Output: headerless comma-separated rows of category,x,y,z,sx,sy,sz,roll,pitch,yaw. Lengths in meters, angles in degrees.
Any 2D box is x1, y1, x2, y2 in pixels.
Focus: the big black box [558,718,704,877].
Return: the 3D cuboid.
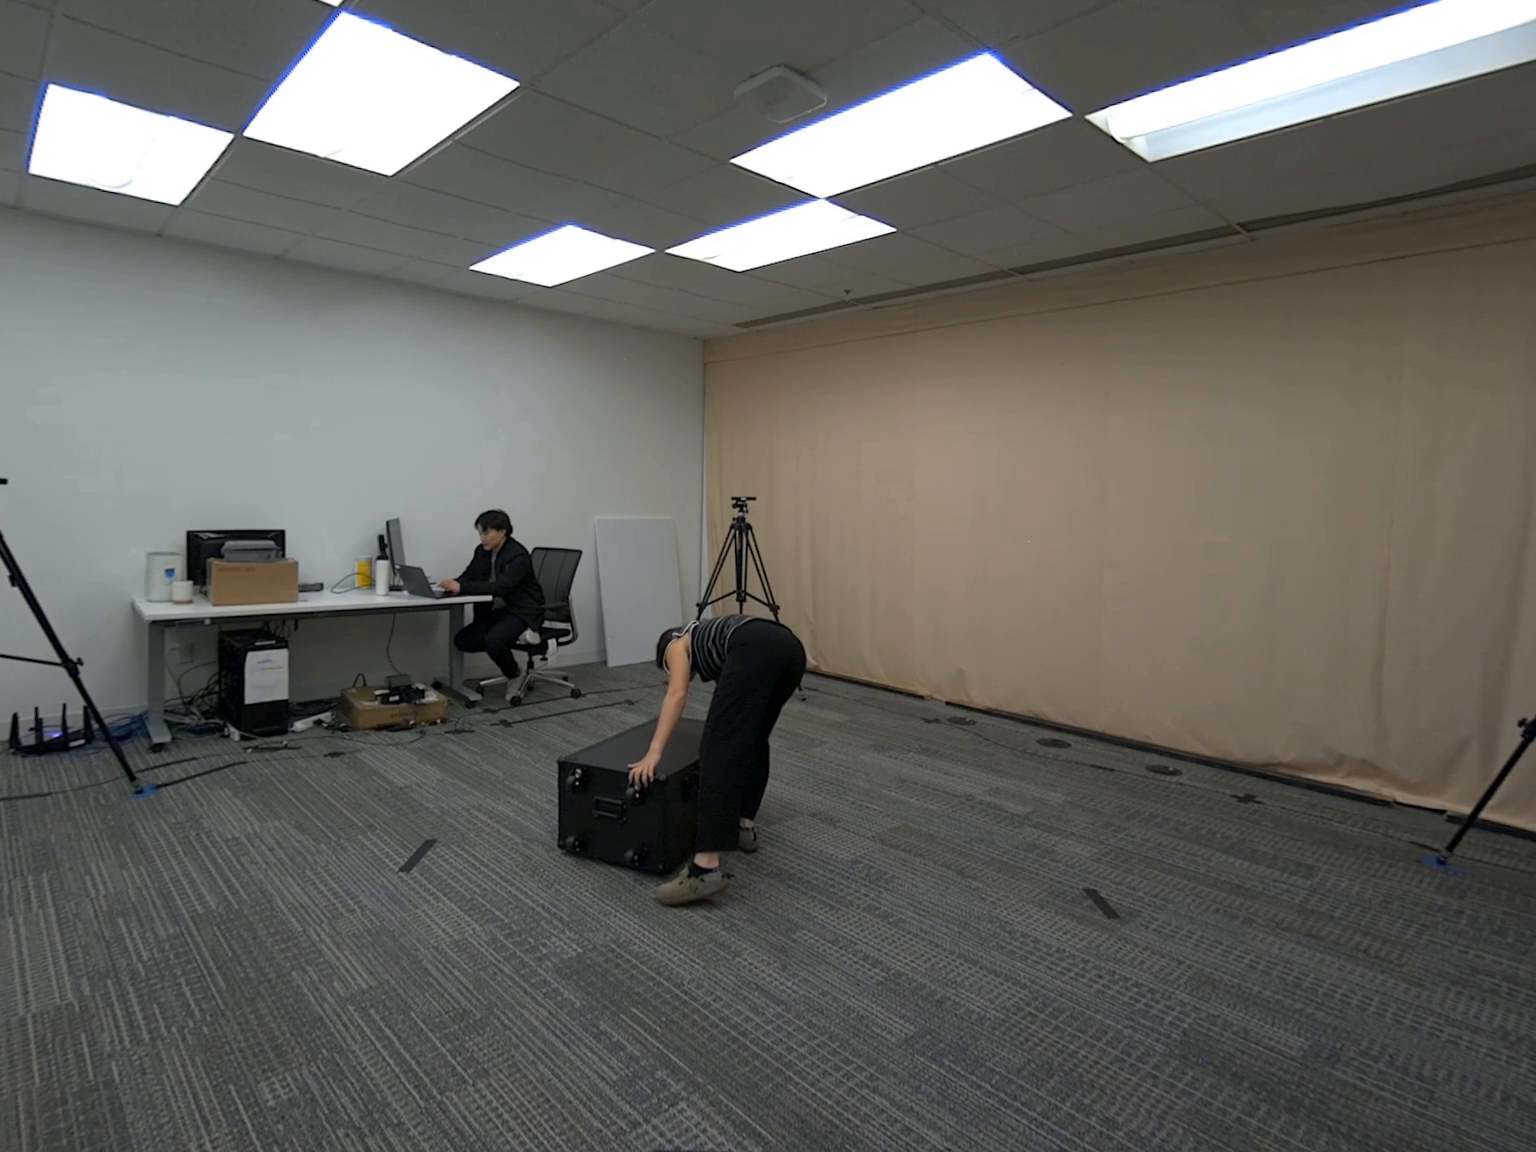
big black box,-0.454,0.872,3.453,0.531,0.395,0.848,3,4,23
